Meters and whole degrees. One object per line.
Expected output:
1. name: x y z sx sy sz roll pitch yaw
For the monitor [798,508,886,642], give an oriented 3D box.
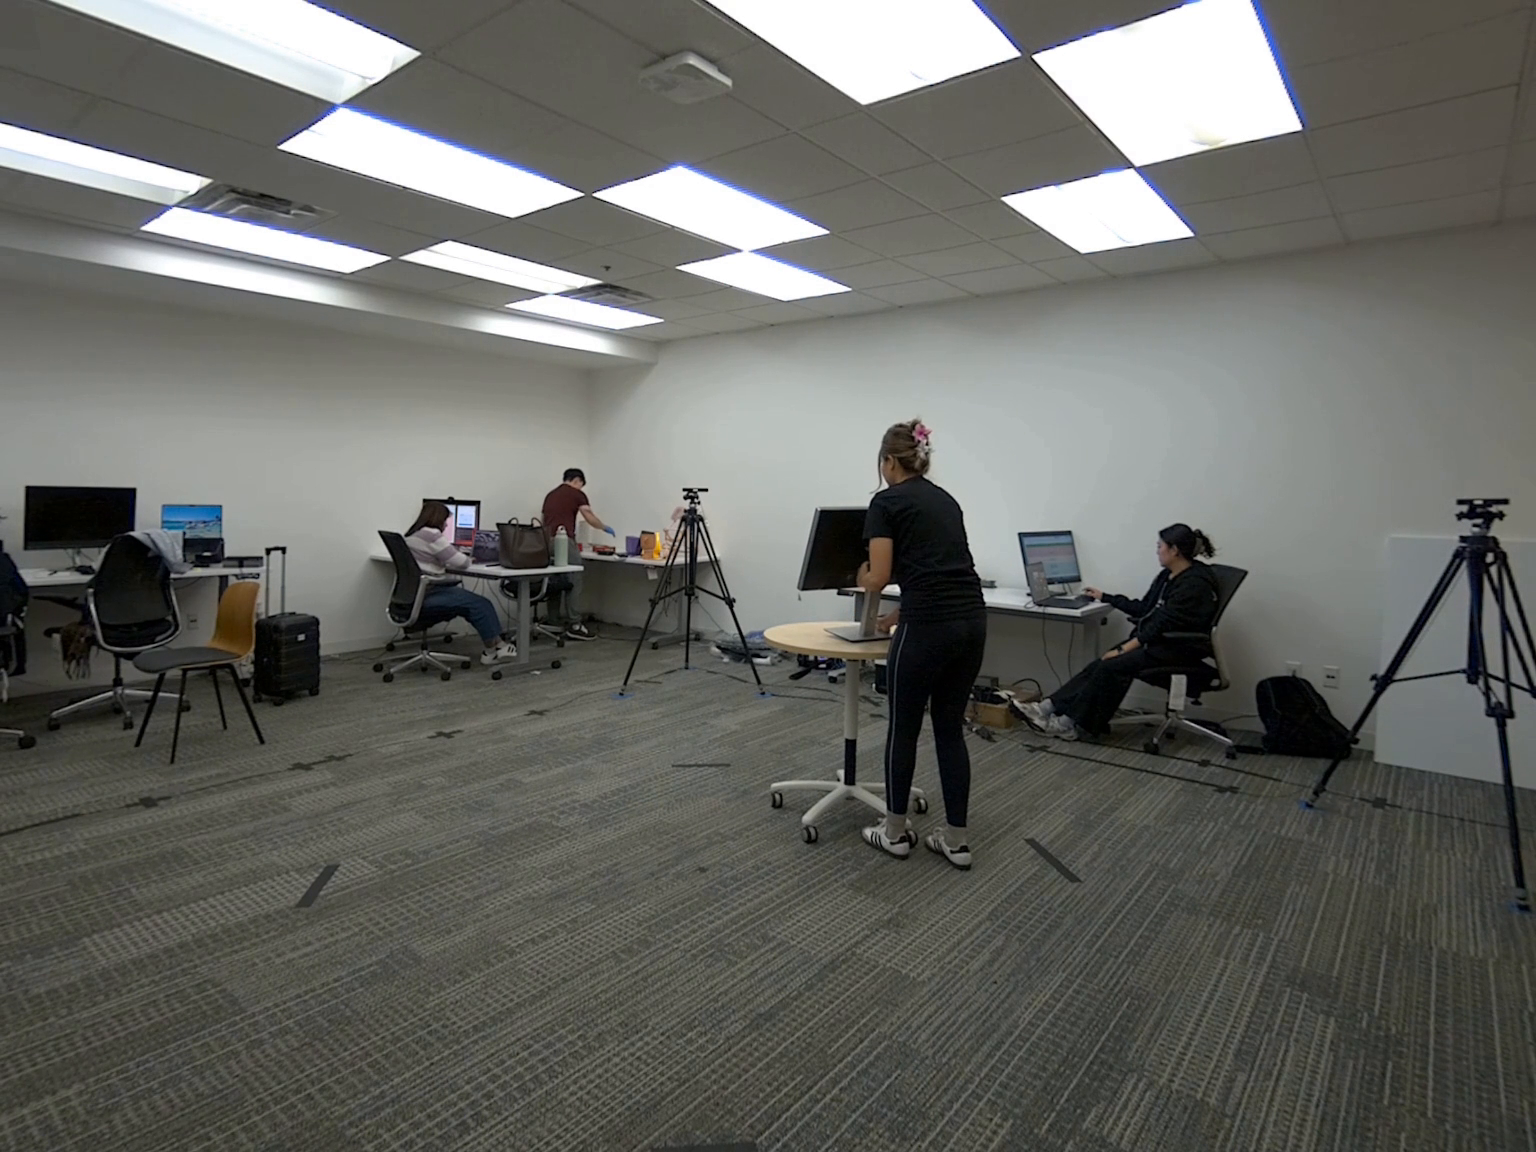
1. monitor: 0.399 -0.018 3.532 0.524 0.518 0.194 -3 10 -32
